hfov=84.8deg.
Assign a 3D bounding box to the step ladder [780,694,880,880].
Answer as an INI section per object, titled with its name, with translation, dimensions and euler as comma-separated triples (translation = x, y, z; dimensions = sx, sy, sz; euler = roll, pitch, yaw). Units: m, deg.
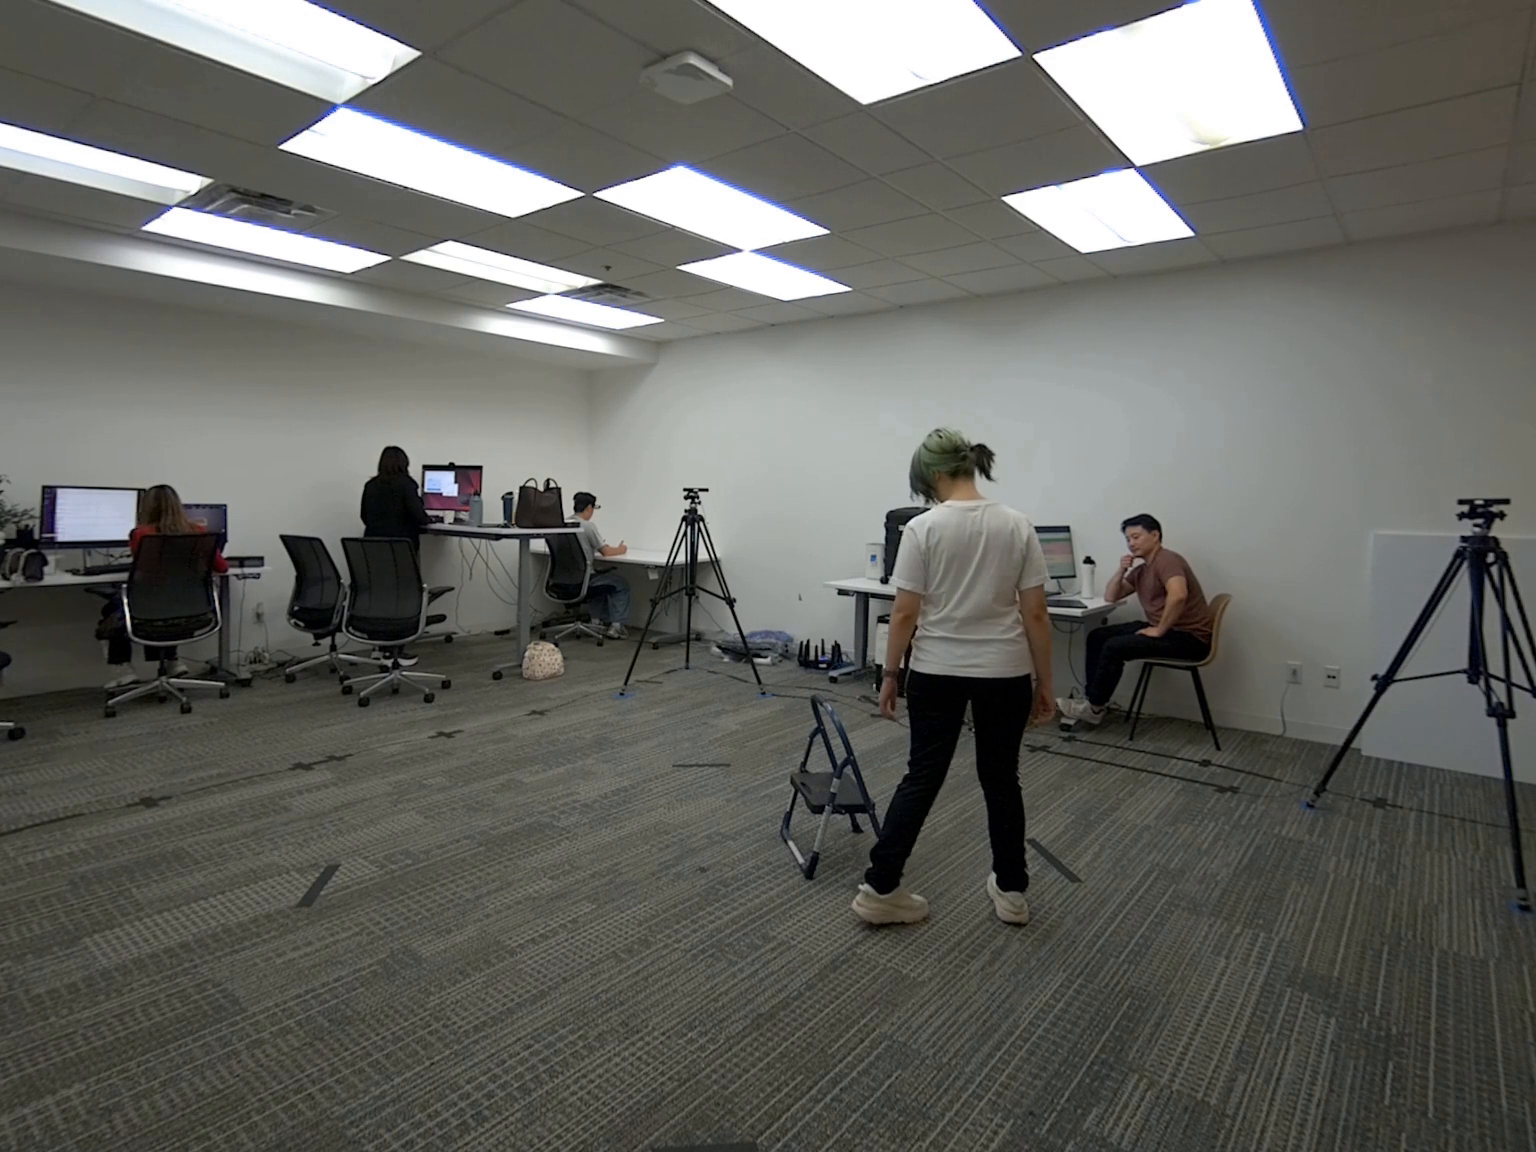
[step ladder]
translation = 0.261, 0.765, 3.254
dimensions = 0.345, 0.604, 0.437
euler = 1, 3, -13
